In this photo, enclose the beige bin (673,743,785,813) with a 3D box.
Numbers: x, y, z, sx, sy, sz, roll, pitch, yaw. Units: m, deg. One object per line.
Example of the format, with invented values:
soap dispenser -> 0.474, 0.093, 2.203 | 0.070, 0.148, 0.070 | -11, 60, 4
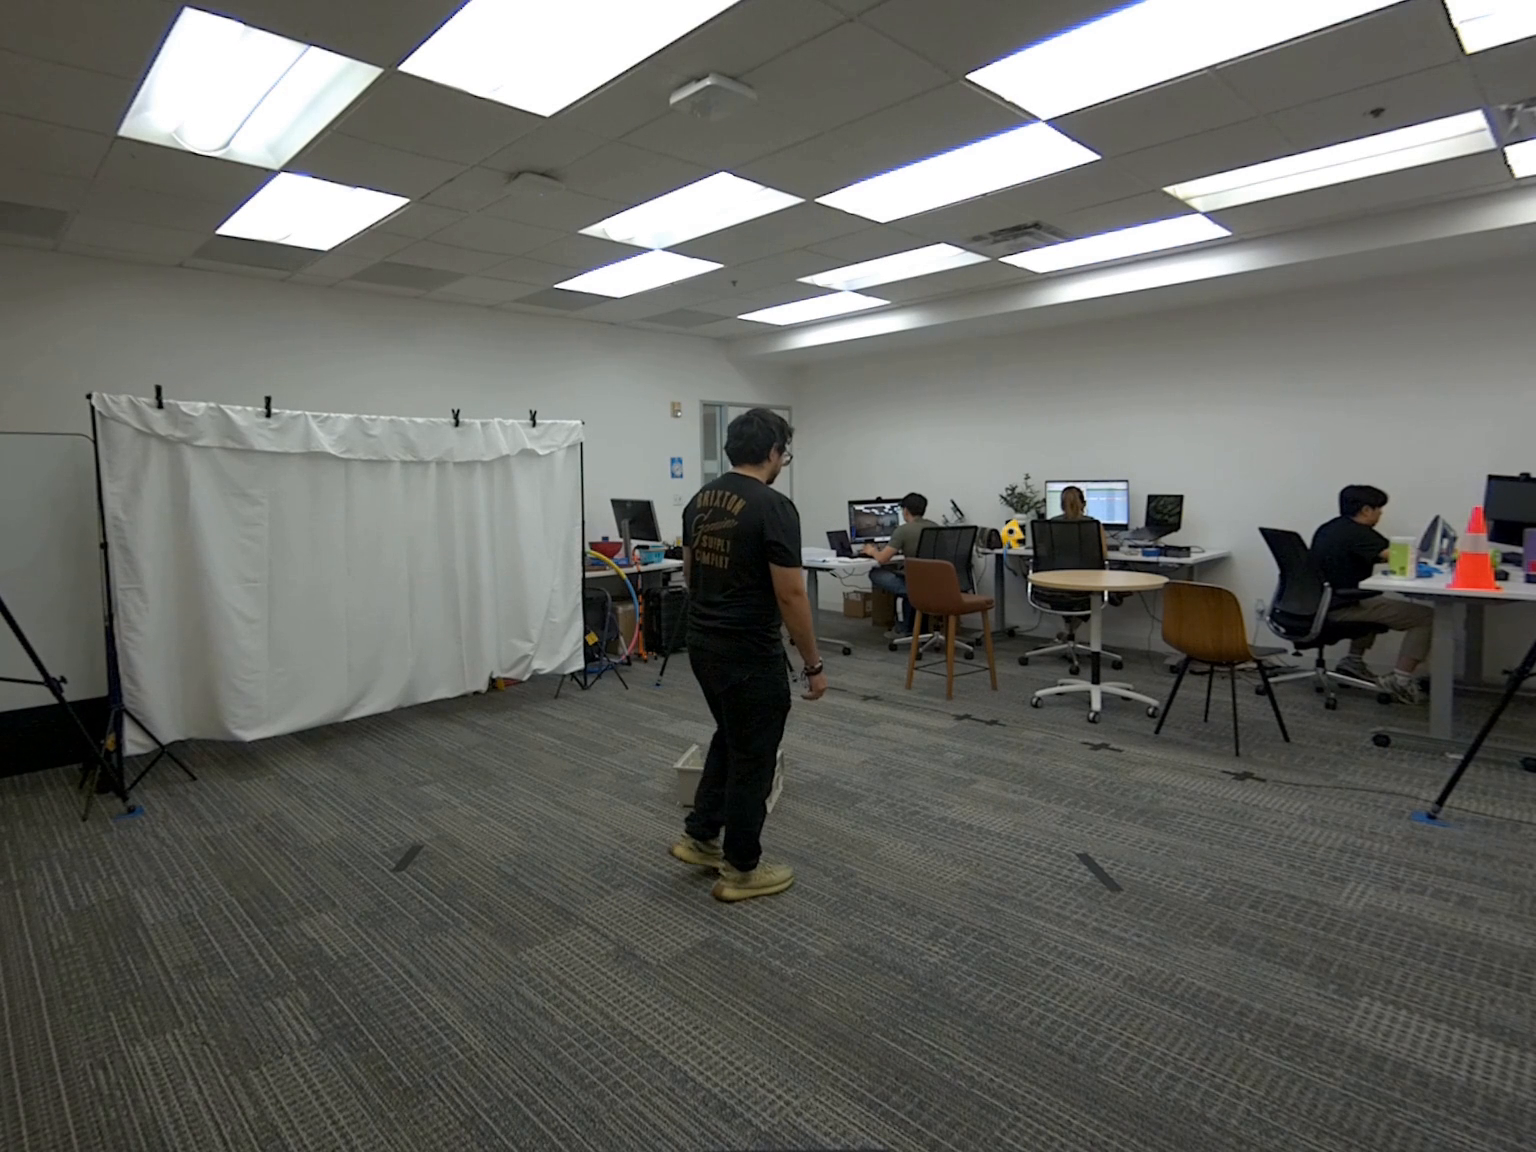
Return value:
beige bin -> -0.164, 0.887, 3.789 | 0.428, 0.188, 0.374 | 1, 7, 13
